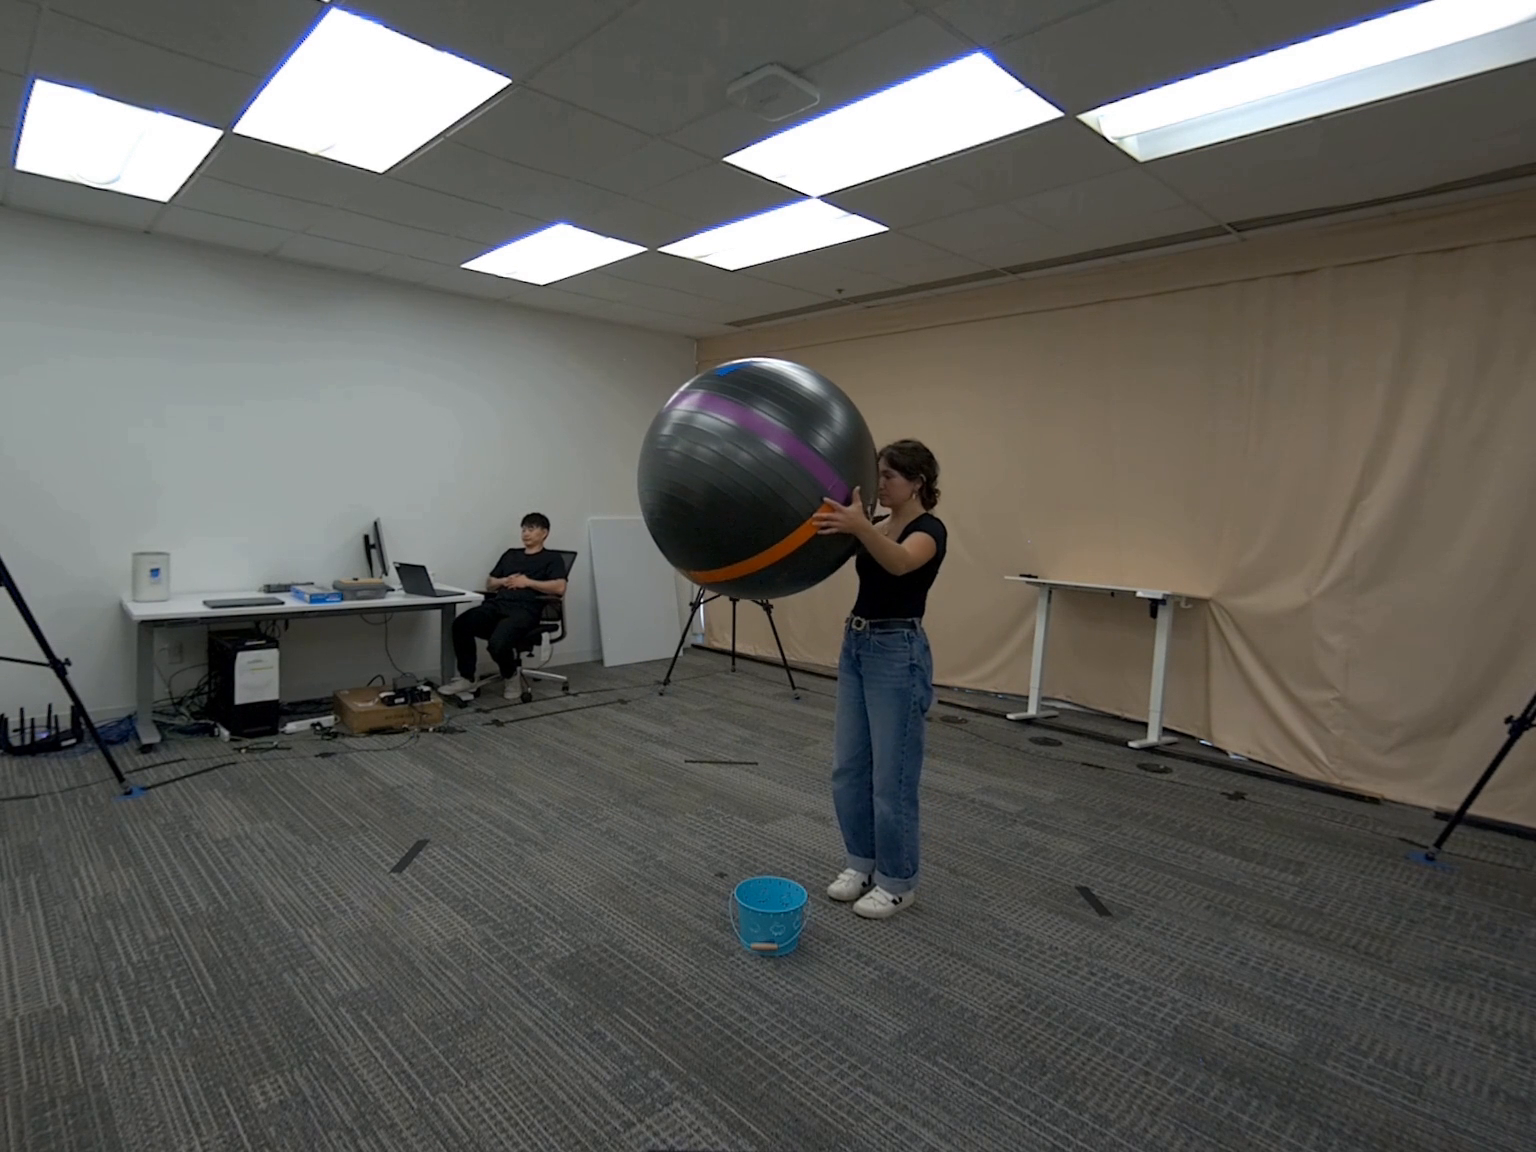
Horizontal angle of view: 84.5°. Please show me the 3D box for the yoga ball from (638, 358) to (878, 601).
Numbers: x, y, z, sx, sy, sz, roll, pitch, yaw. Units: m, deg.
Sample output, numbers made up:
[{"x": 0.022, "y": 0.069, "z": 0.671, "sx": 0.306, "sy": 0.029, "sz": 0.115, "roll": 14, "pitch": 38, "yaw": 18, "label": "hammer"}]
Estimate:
[{"x": -0.034, "y": -0.295, "z": 2.663, "sx": 0.757, "sy": 0.756, "sz": 0.761, "roll": 1, "pitch": 4, "yaw": -1, "label": "yoga ball"}]
